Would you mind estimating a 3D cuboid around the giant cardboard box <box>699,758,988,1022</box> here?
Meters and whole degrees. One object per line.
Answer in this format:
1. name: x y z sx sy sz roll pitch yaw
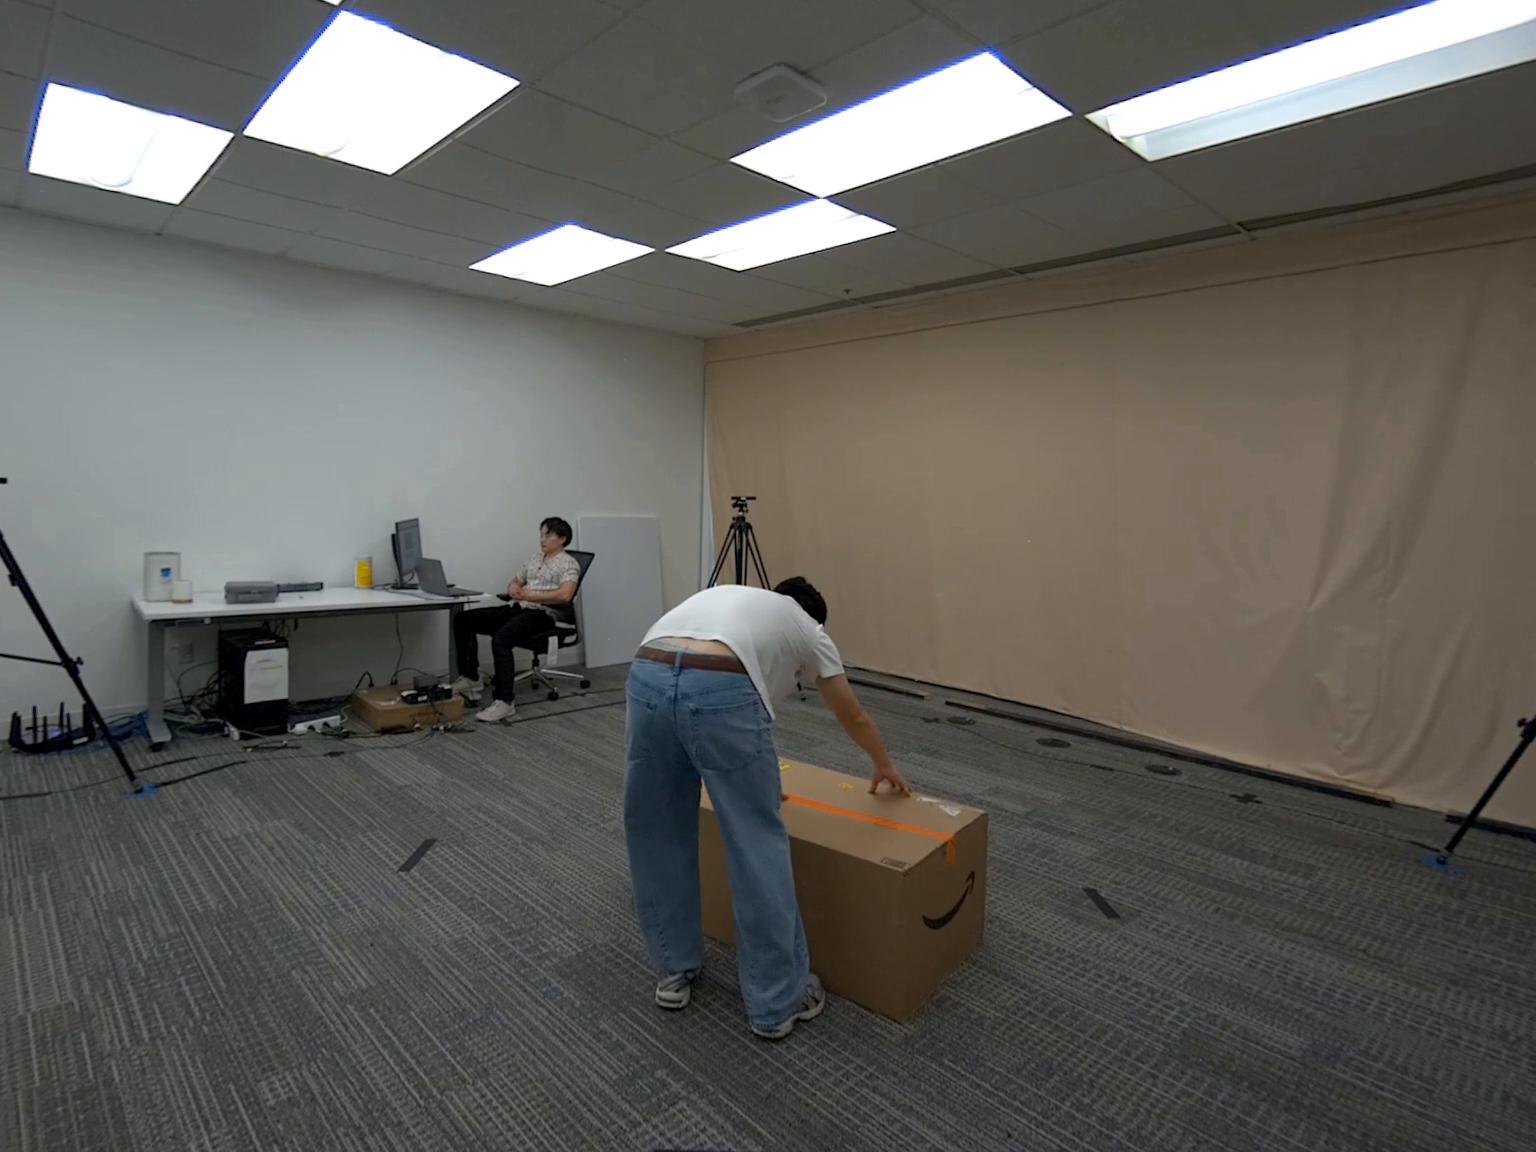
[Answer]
1. giant cardboard box: 0.111 0.933 2.766 1.051 0.425 0.565 5 6 37
